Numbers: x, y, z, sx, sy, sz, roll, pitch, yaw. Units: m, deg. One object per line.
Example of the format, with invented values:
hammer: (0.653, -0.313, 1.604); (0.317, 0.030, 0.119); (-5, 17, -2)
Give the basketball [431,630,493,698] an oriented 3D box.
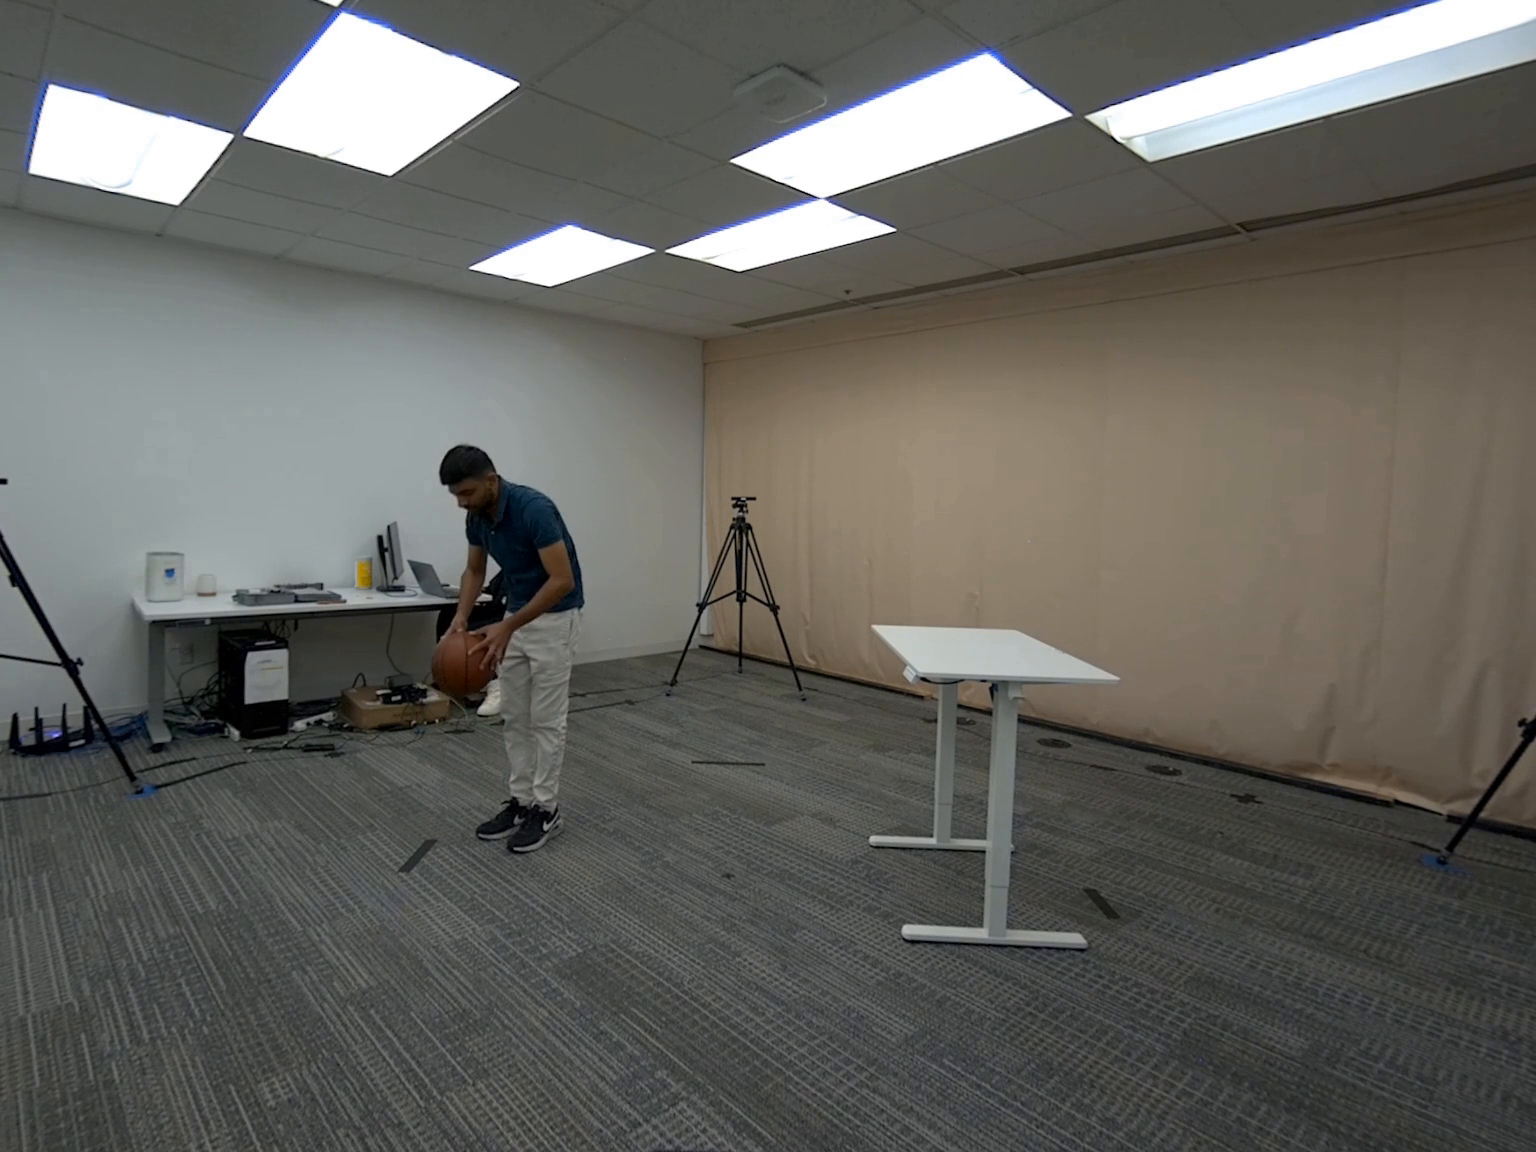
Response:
basketball: (-1.160, 0.329, 3.176); (0.236, 0.235, 0.237); (1, 4, -1)
